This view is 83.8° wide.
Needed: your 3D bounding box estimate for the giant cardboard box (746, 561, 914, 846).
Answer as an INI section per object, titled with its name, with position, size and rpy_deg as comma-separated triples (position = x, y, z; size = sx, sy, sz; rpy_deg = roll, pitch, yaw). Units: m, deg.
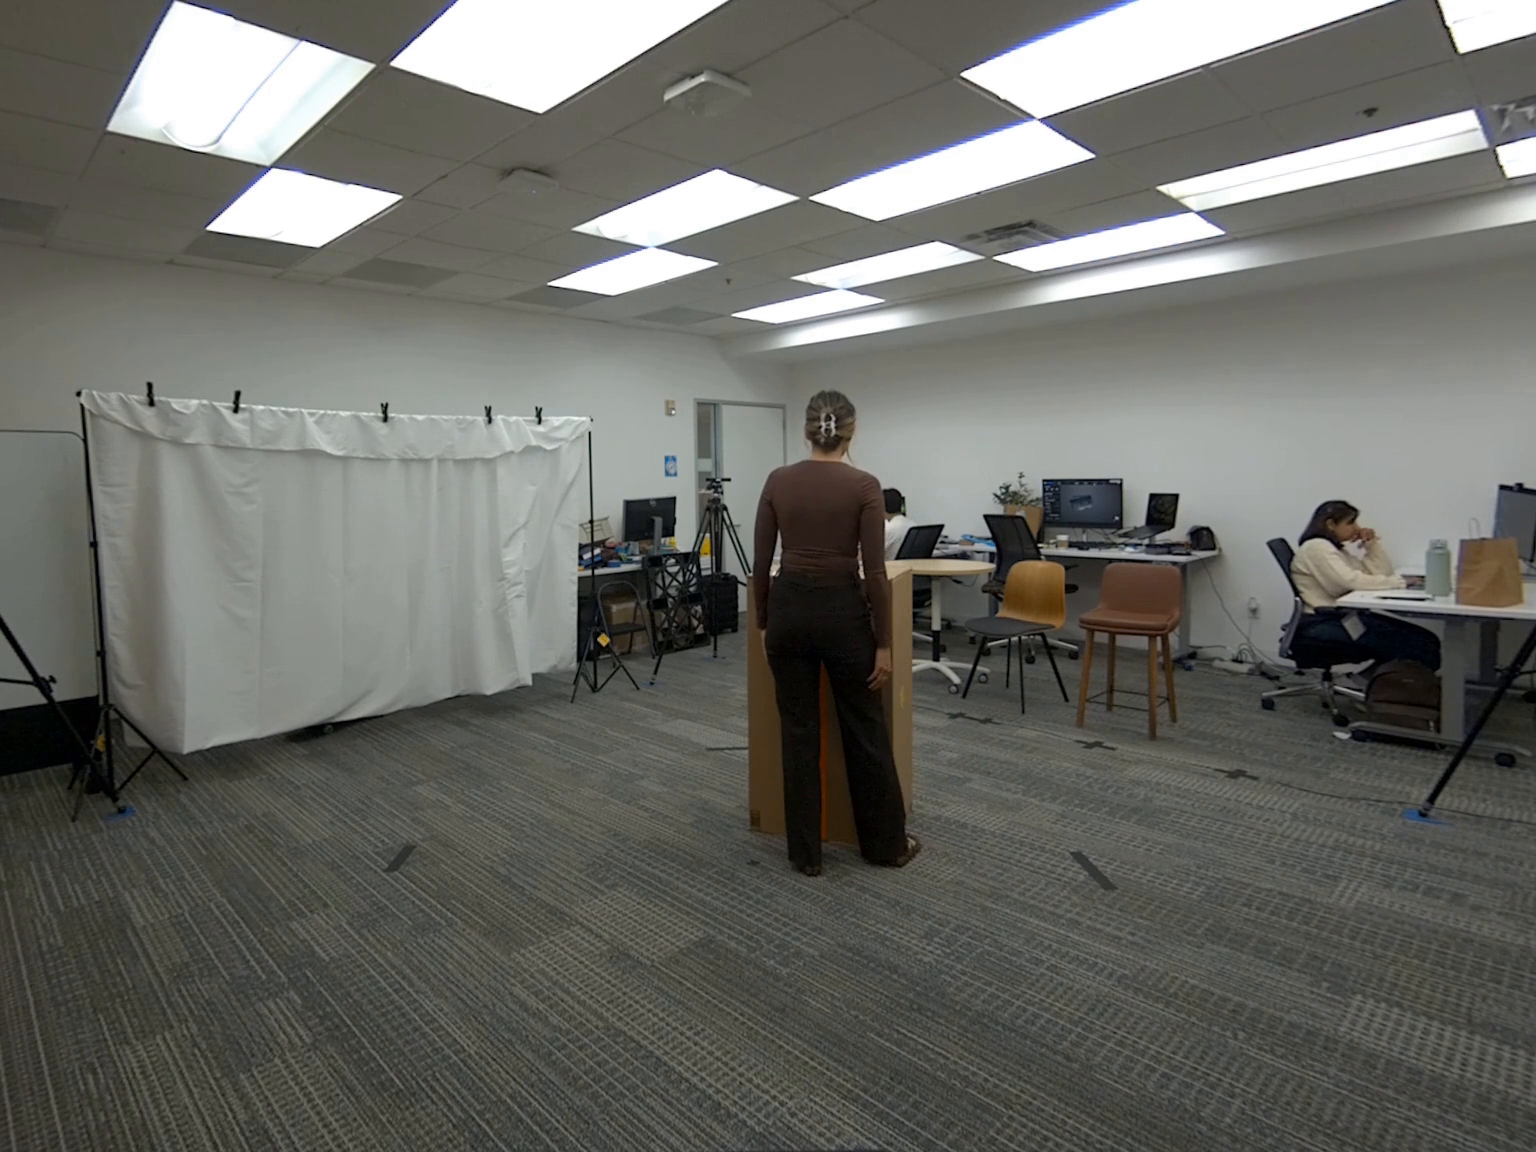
[giant cardboard box]
position = 0.256, 0.487, 3.449
size = 0.596, 1.023, 0.439
rpy_deg = 1, 5, 22
